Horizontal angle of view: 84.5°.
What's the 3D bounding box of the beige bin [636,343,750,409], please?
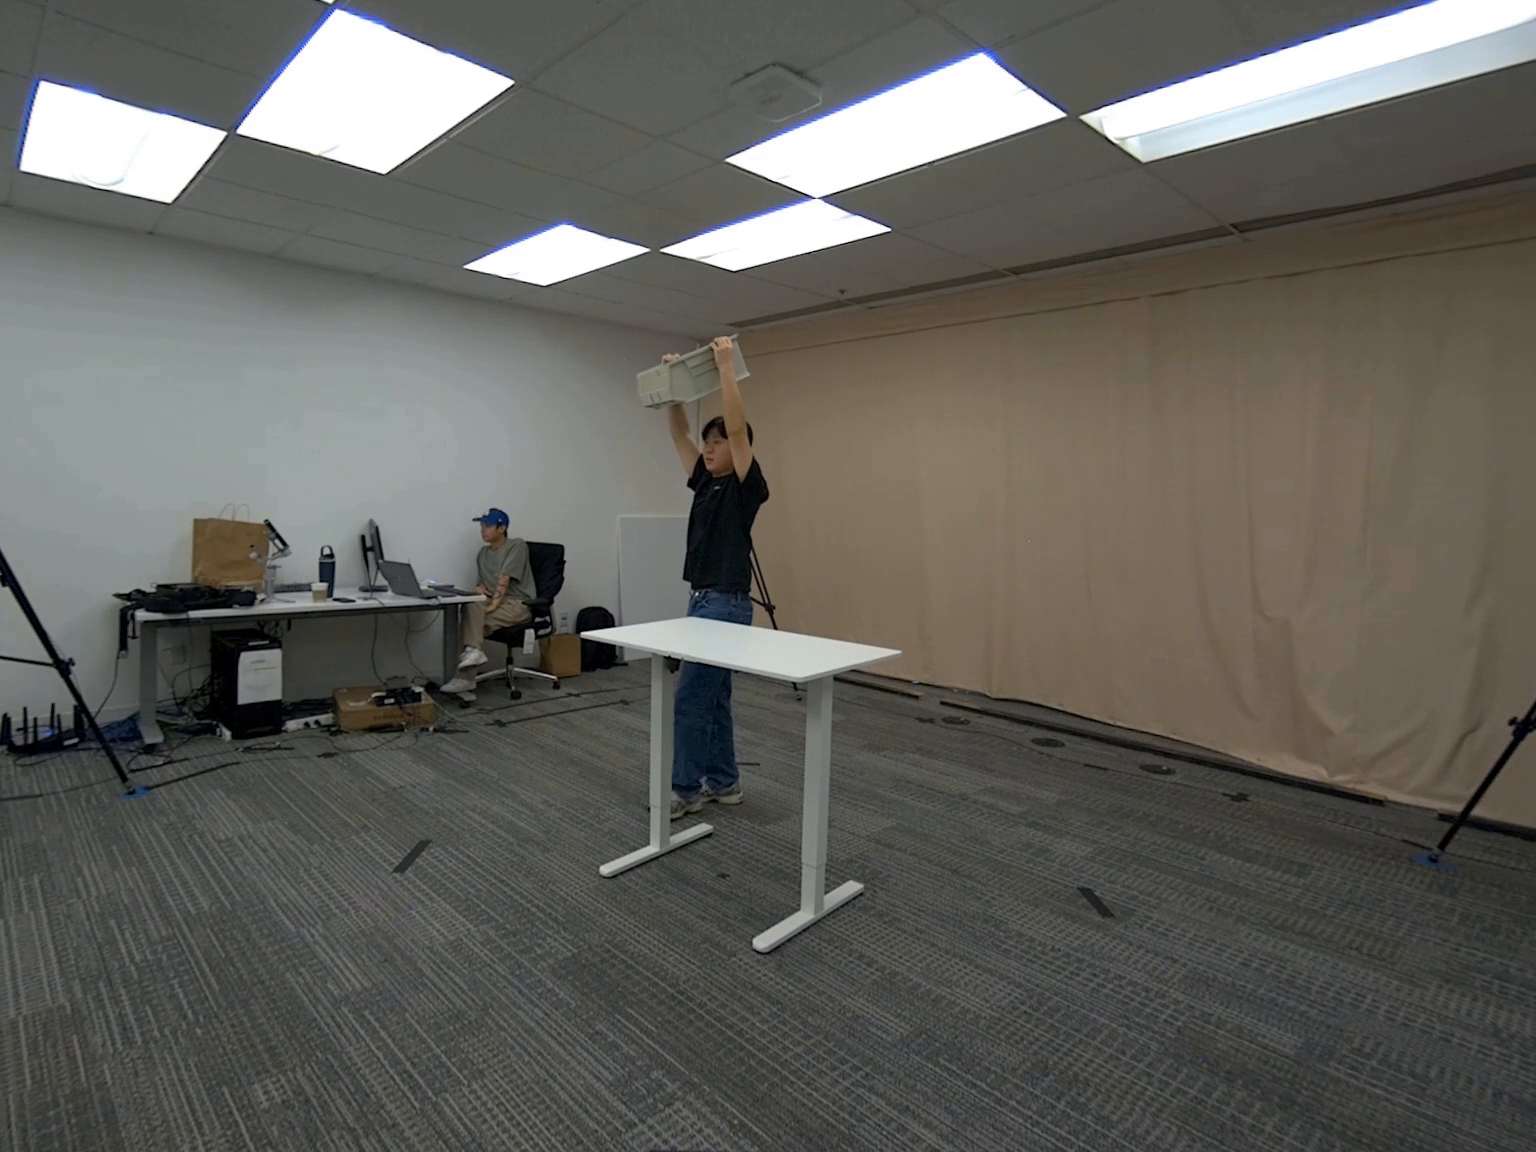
[{"bbox_3d":[-0.348,-0.864,3.649,0.375,0.186,0.431,-28,17,-20],"label":"beige bin"}]
